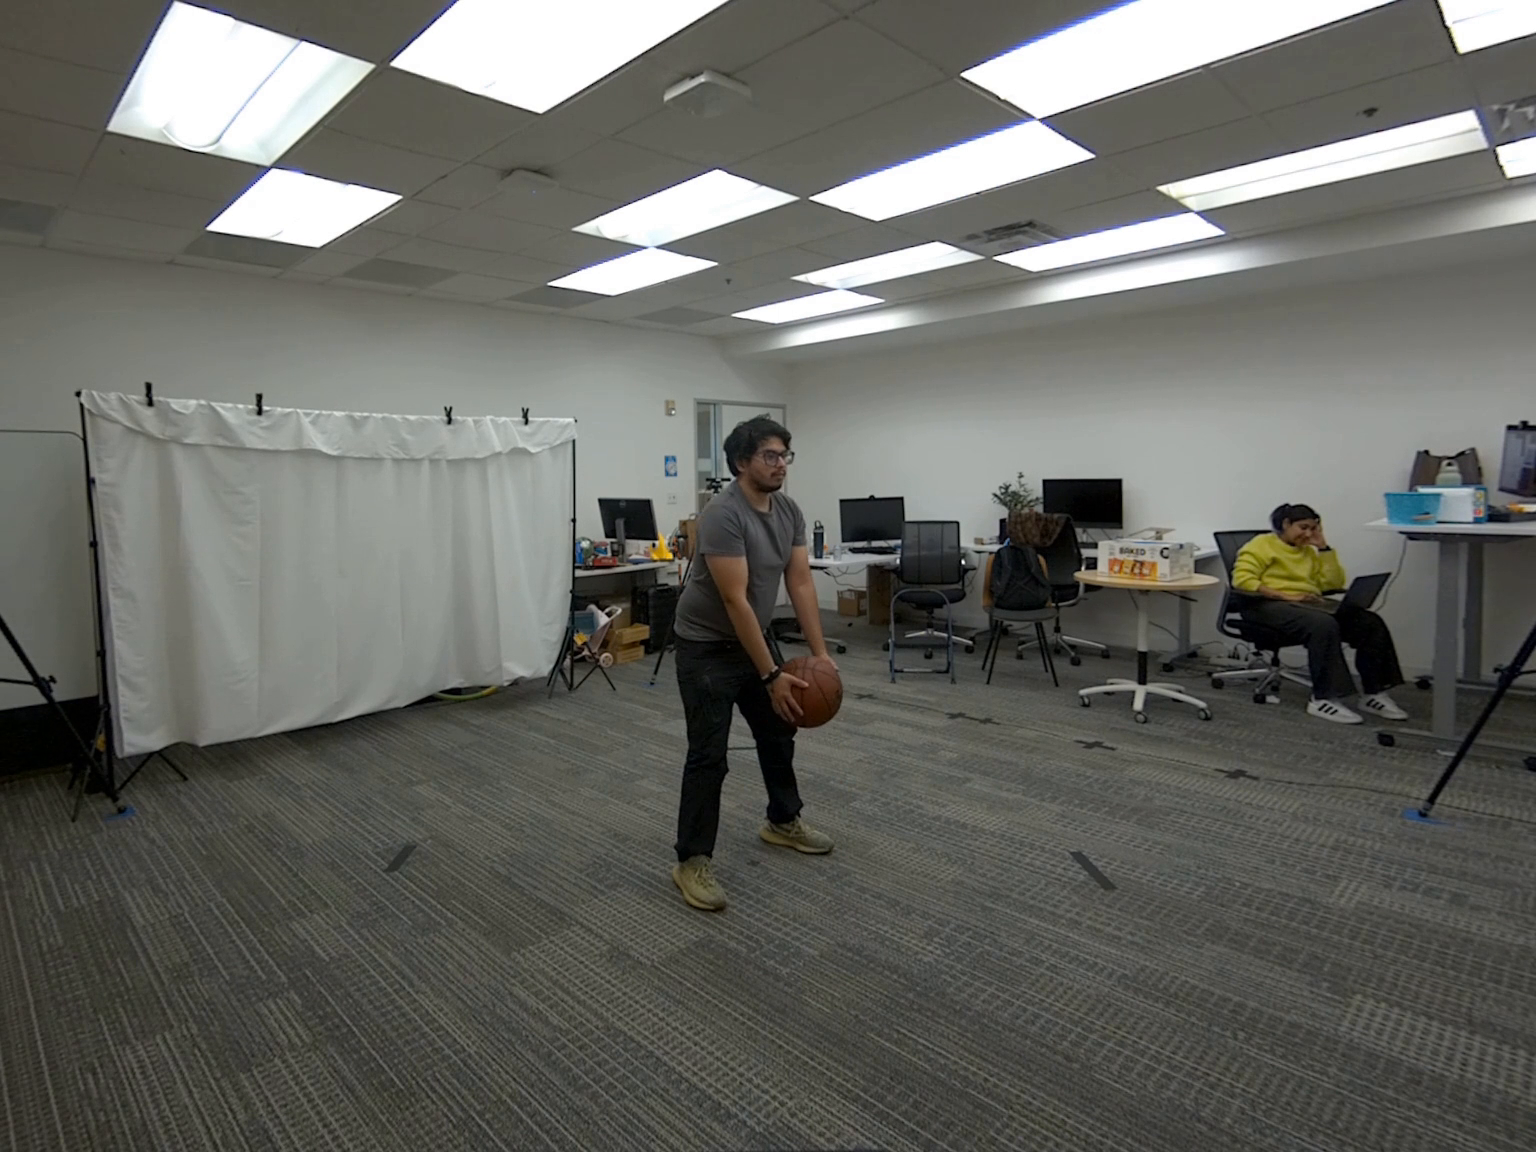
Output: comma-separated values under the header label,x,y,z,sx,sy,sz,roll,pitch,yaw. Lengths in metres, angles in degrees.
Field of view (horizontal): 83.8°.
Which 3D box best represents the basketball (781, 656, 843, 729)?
label,x,y,z,sx,sy,sz,roll,pitch,yaw
basketball,0.129,0.390,2.832,0.236,0.235,0.237,-1,5,-2
